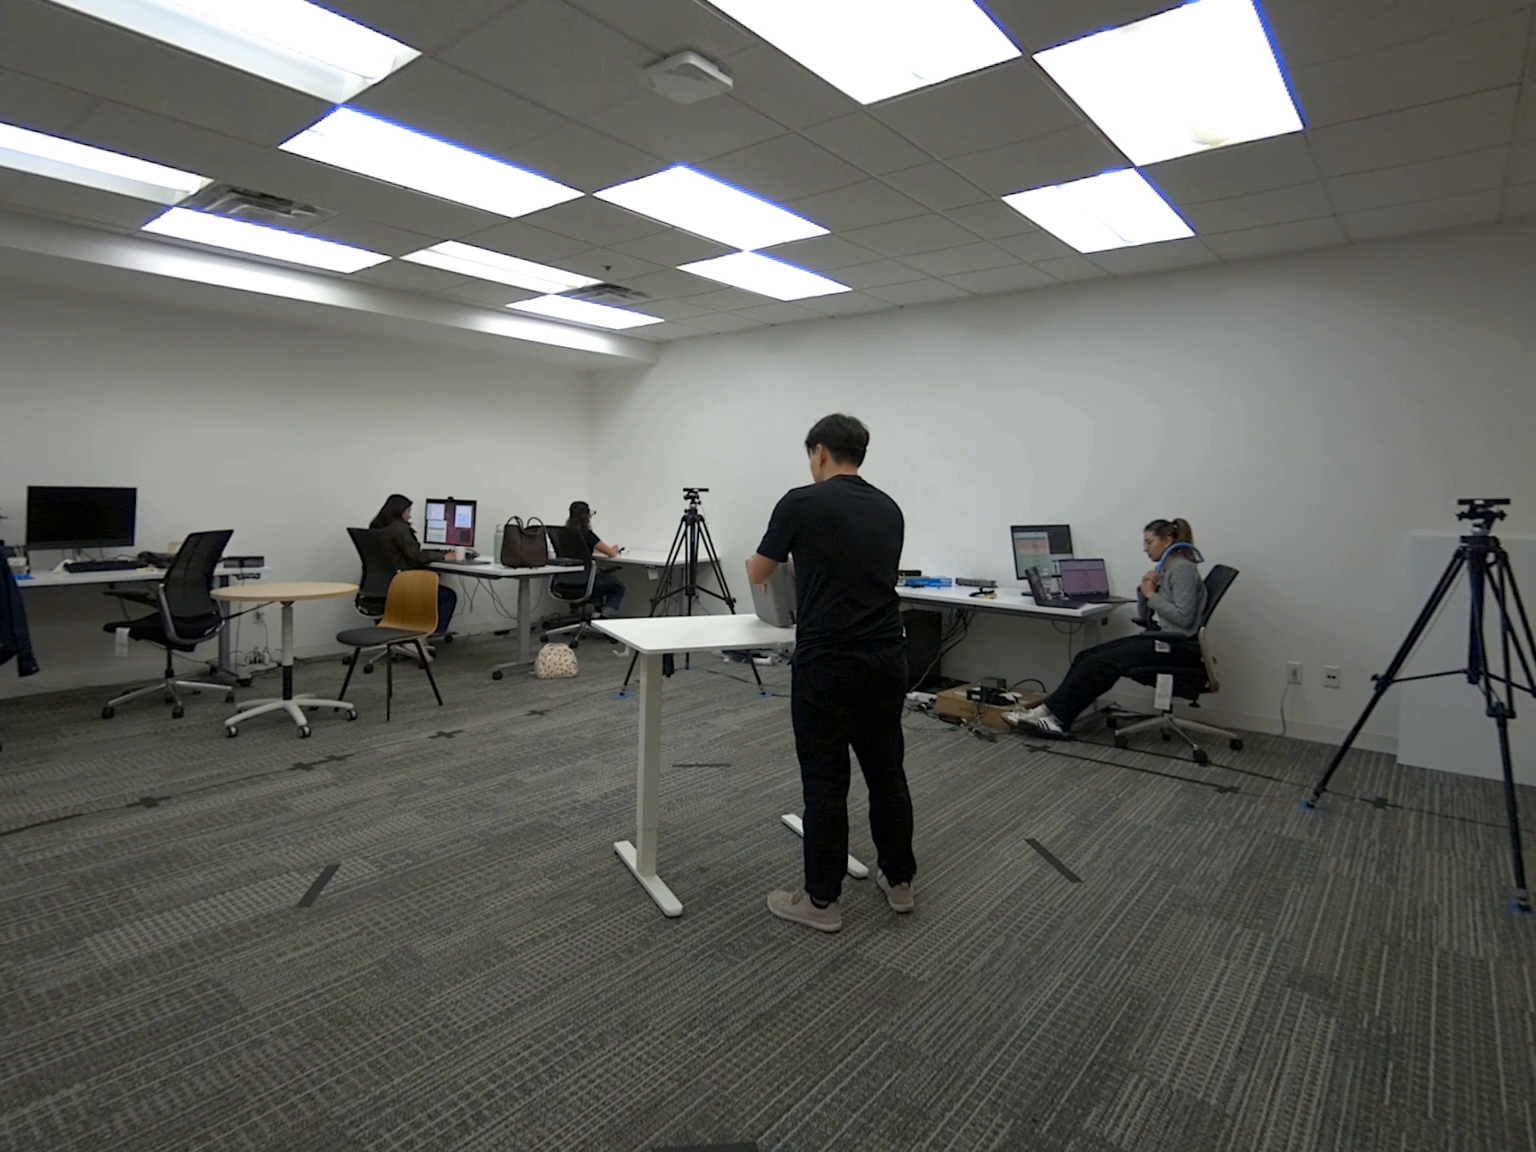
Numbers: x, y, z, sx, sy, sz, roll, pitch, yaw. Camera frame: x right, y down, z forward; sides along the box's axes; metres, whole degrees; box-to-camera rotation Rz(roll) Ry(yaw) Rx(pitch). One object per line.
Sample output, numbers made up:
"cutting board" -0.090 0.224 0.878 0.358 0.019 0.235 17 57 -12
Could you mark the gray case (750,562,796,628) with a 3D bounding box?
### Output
"gray case" 0.008 0.048 3.245 0.103 0.255 0.266 -13 9 -17
